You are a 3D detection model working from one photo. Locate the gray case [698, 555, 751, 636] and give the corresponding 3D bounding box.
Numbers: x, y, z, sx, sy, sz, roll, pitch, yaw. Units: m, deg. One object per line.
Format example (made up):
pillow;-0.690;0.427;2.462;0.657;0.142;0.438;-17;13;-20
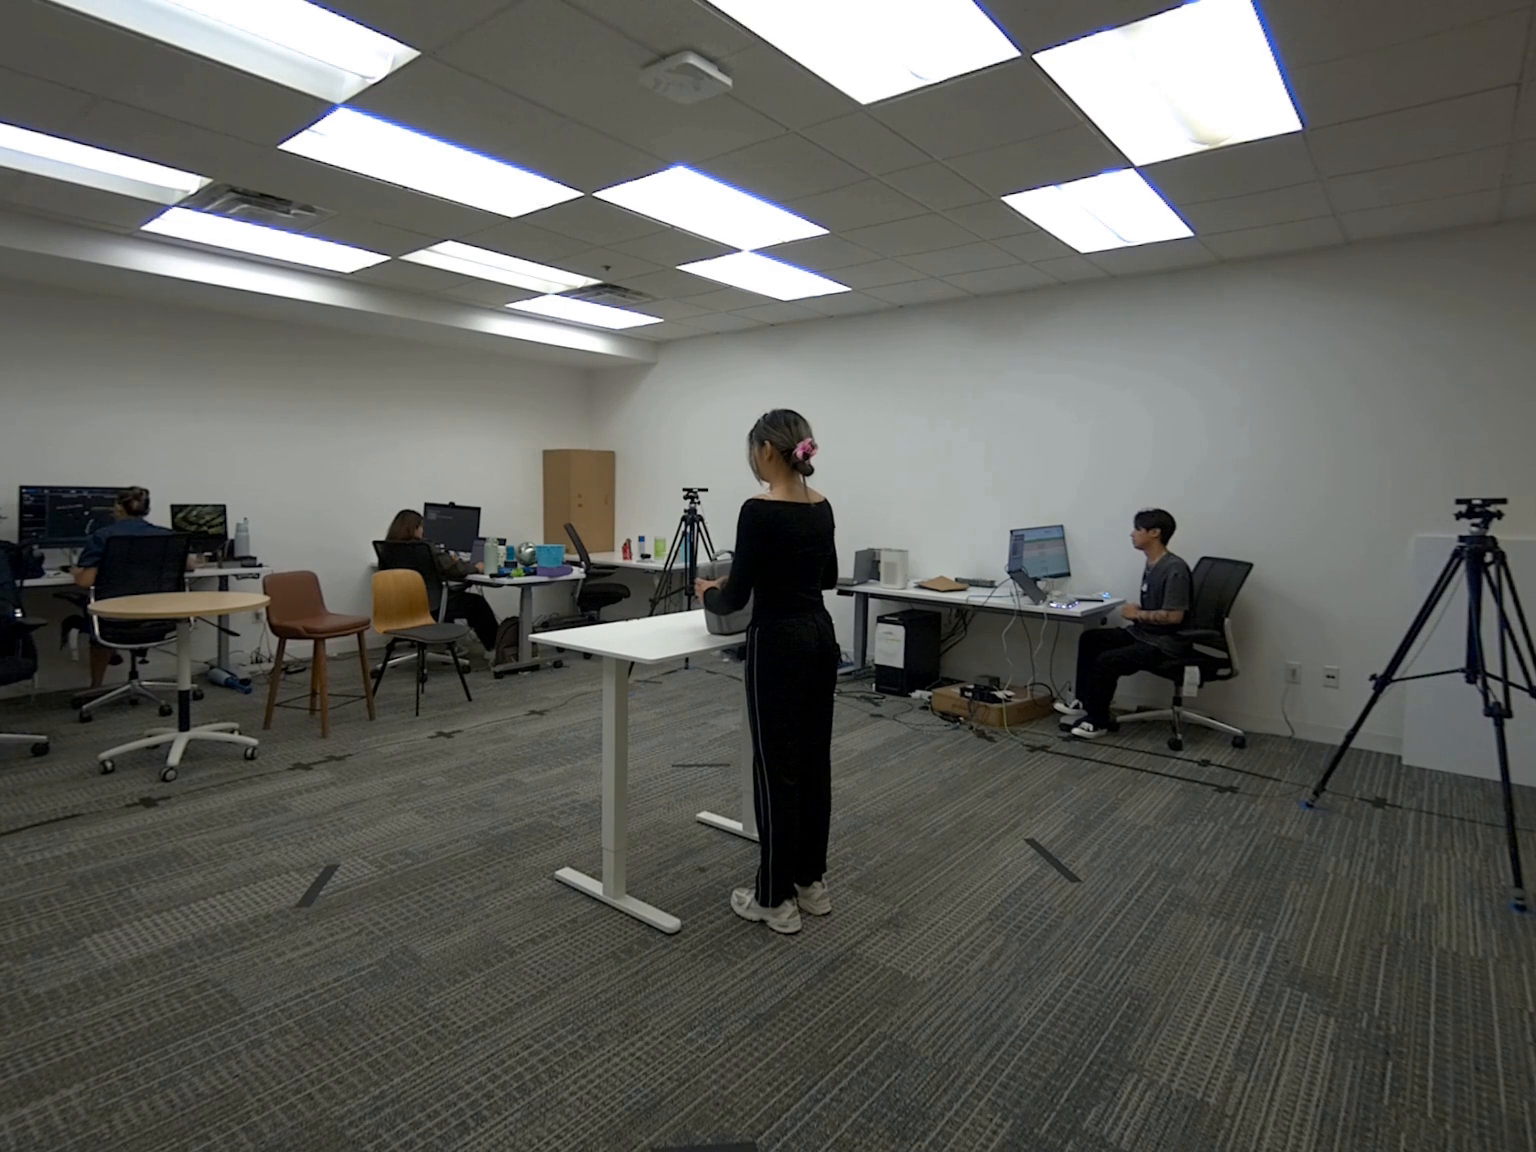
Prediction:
gray case;-0.136;0.064;3.033;0.107;0.261;0.250;-9;-2;35
